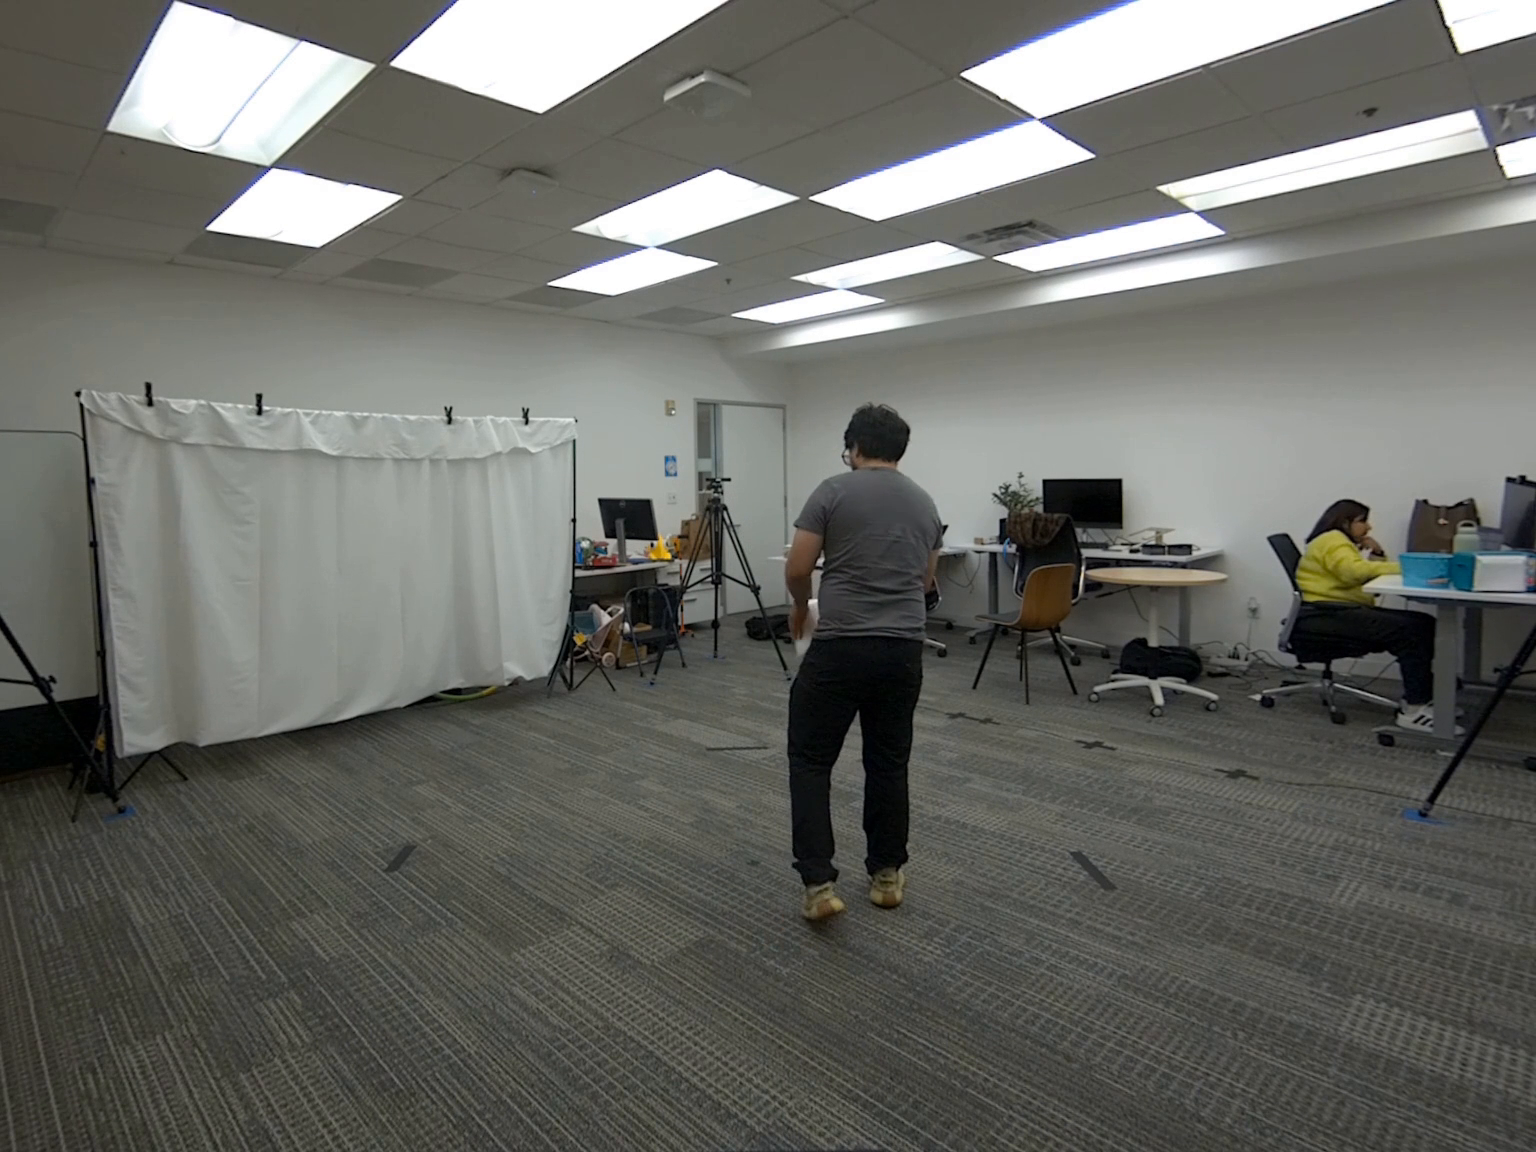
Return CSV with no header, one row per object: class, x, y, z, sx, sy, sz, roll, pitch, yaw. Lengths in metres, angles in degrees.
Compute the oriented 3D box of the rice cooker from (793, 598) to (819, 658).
rice cooker,0.207,0.195,3.084,0.214,0.238,0.219,7,-30,-34
